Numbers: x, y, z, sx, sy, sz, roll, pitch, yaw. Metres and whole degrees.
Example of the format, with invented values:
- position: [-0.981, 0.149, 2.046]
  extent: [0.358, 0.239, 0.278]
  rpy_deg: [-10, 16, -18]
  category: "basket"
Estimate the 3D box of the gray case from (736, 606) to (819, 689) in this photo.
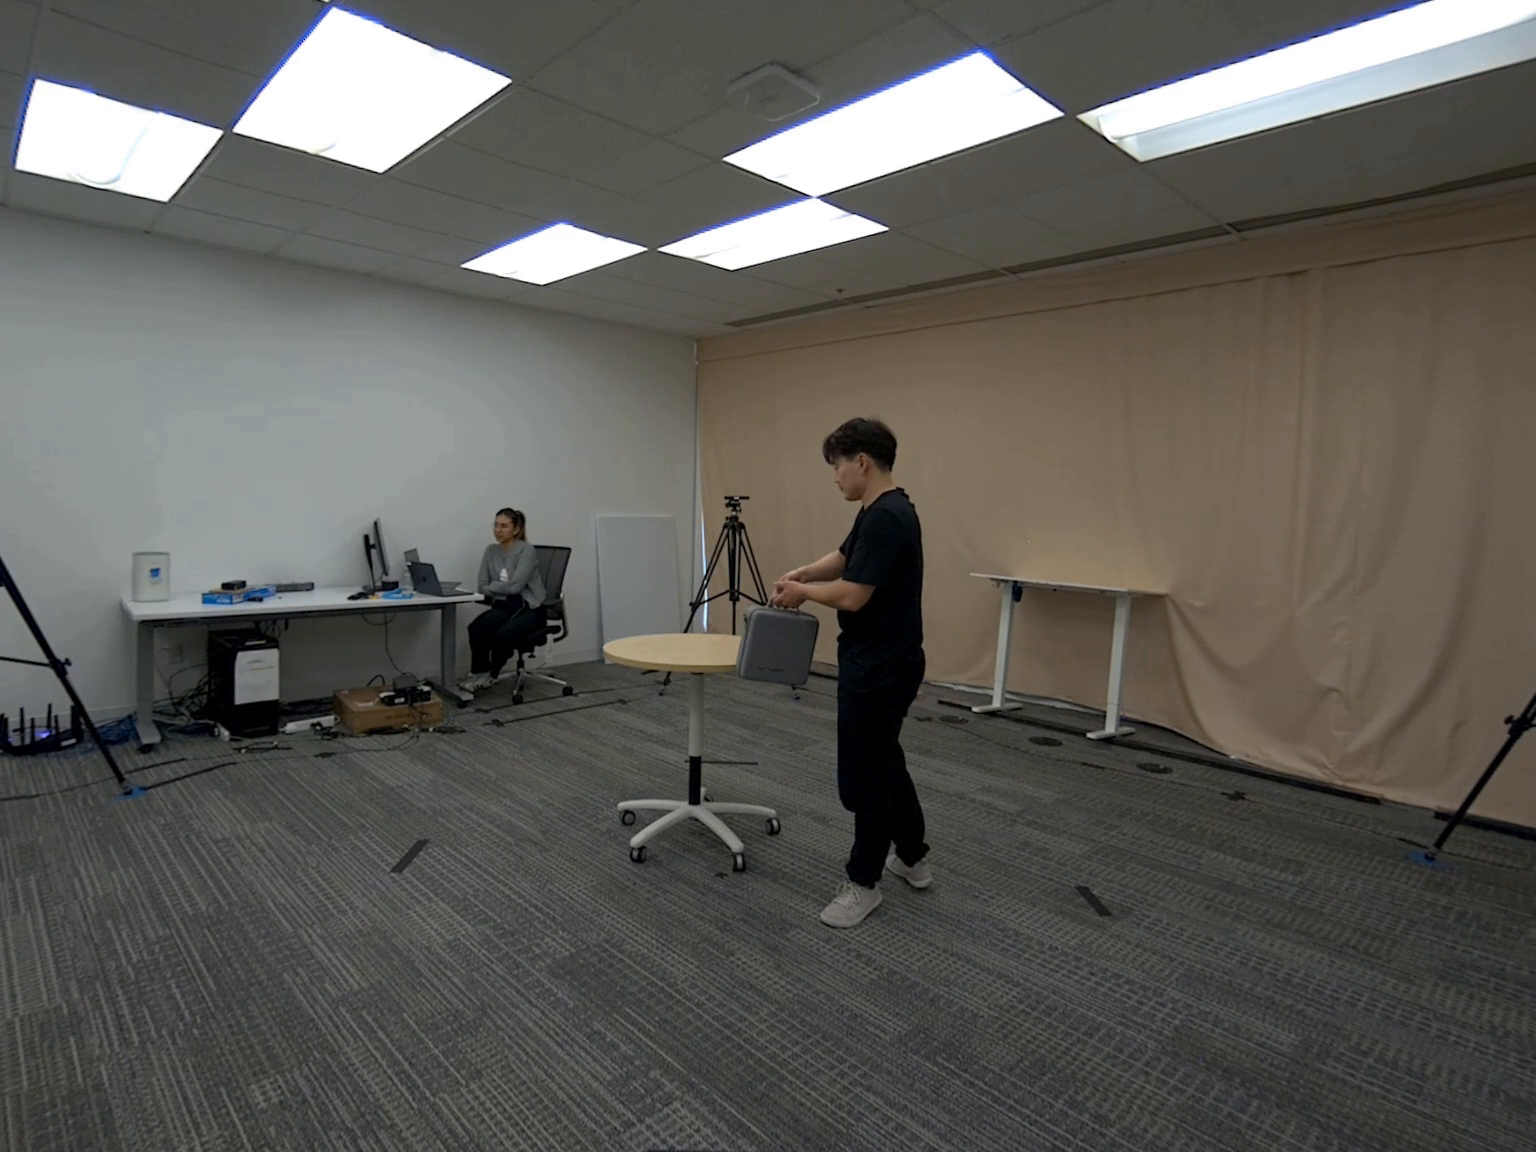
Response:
- position: [0.026, 0.235, 2.921]
  extent: [0.254, 0.260, 0.106]
  rpy_deg: [10, 5, -13]
  category: "gray case"
